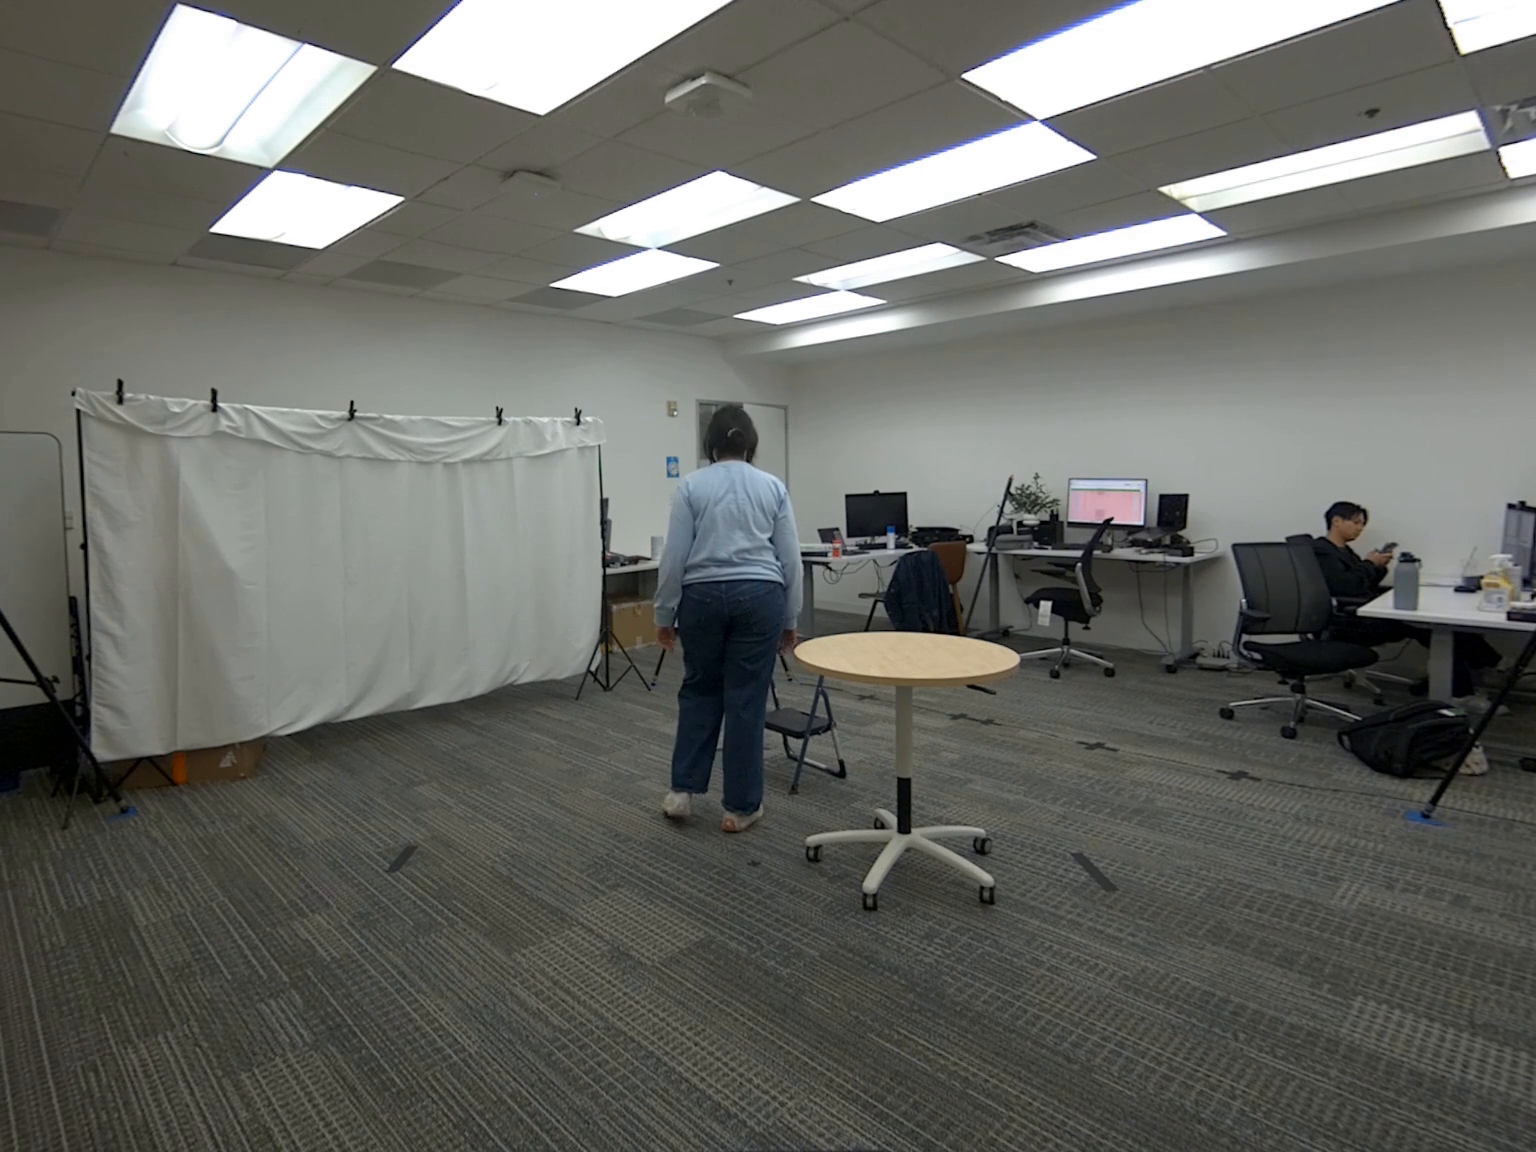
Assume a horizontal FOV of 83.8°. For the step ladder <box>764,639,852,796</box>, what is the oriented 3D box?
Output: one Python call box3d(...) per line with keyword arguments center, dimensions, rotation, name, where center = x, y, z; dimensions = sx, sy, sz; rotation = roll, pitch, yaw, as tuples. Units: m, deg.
box3d(center=(0.106, 0.637, 4.035), dimensions=(0.340, 0.604, 0.443), rotation=(-4, 4, -38), name="step ladder")
